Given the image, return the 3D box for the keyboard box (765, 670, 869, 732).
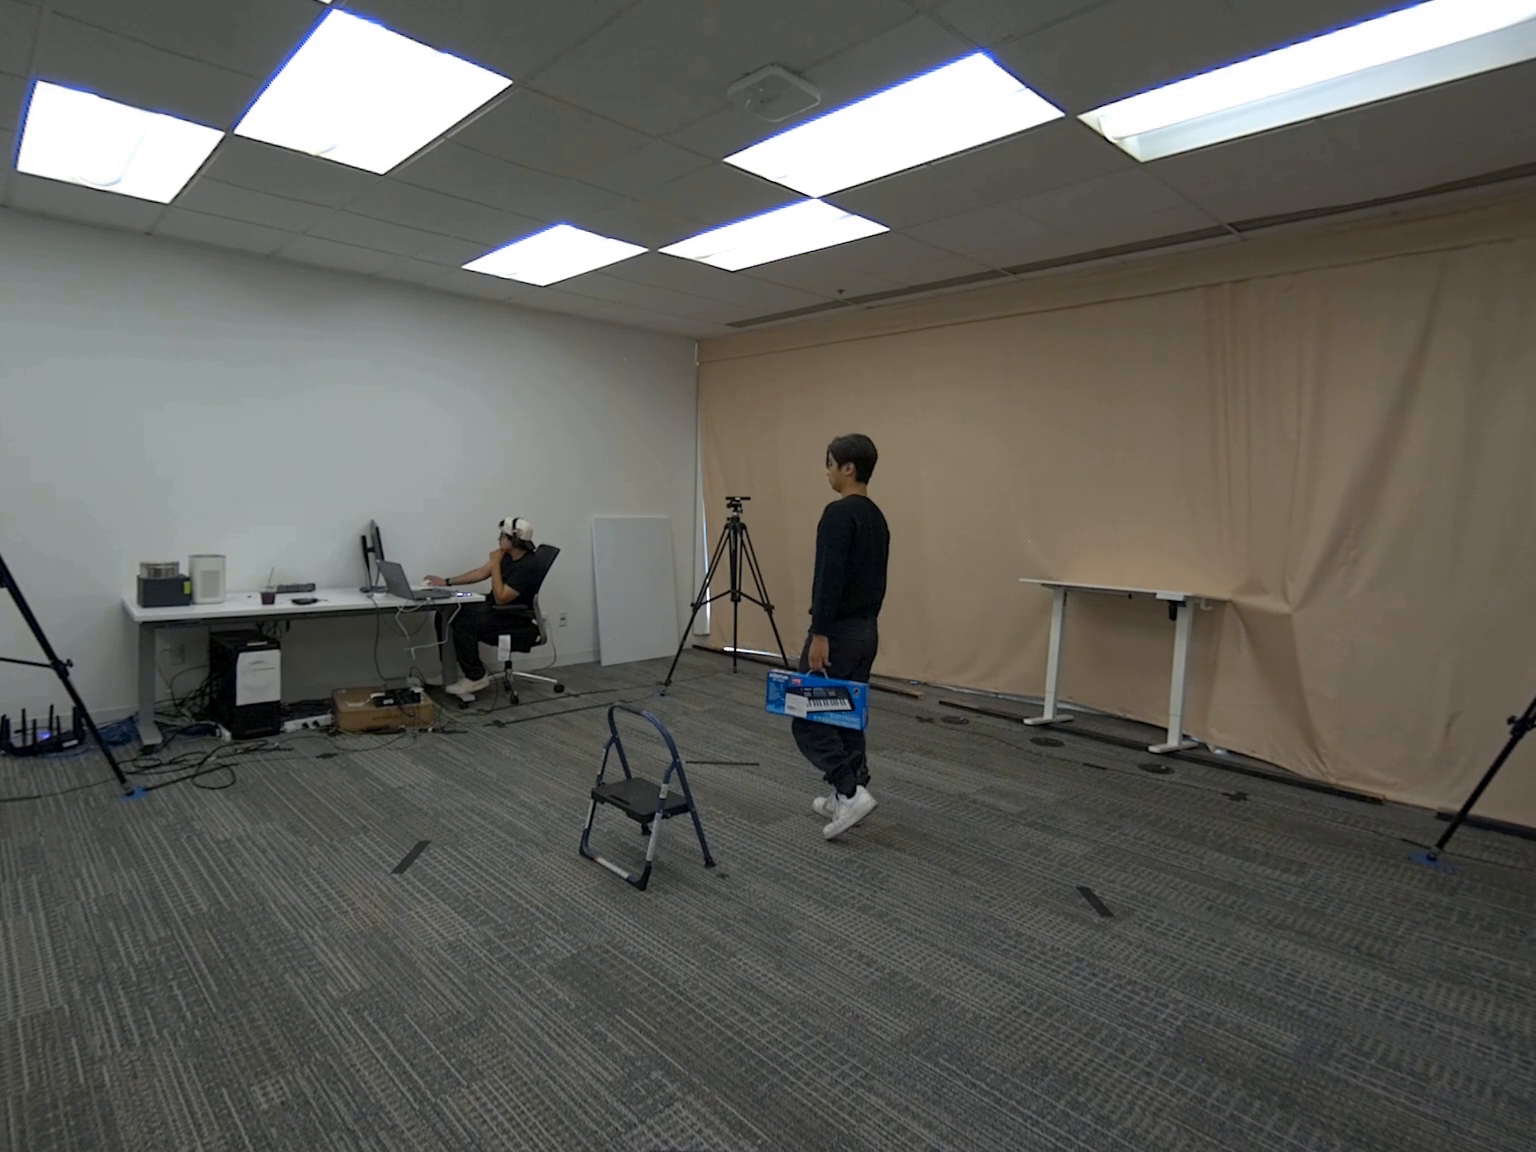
[{"bbox_3d":[0.187,0.497,3.396,0.447,0.176,0.058,5,3,34],"label":"keyboard box"}]
